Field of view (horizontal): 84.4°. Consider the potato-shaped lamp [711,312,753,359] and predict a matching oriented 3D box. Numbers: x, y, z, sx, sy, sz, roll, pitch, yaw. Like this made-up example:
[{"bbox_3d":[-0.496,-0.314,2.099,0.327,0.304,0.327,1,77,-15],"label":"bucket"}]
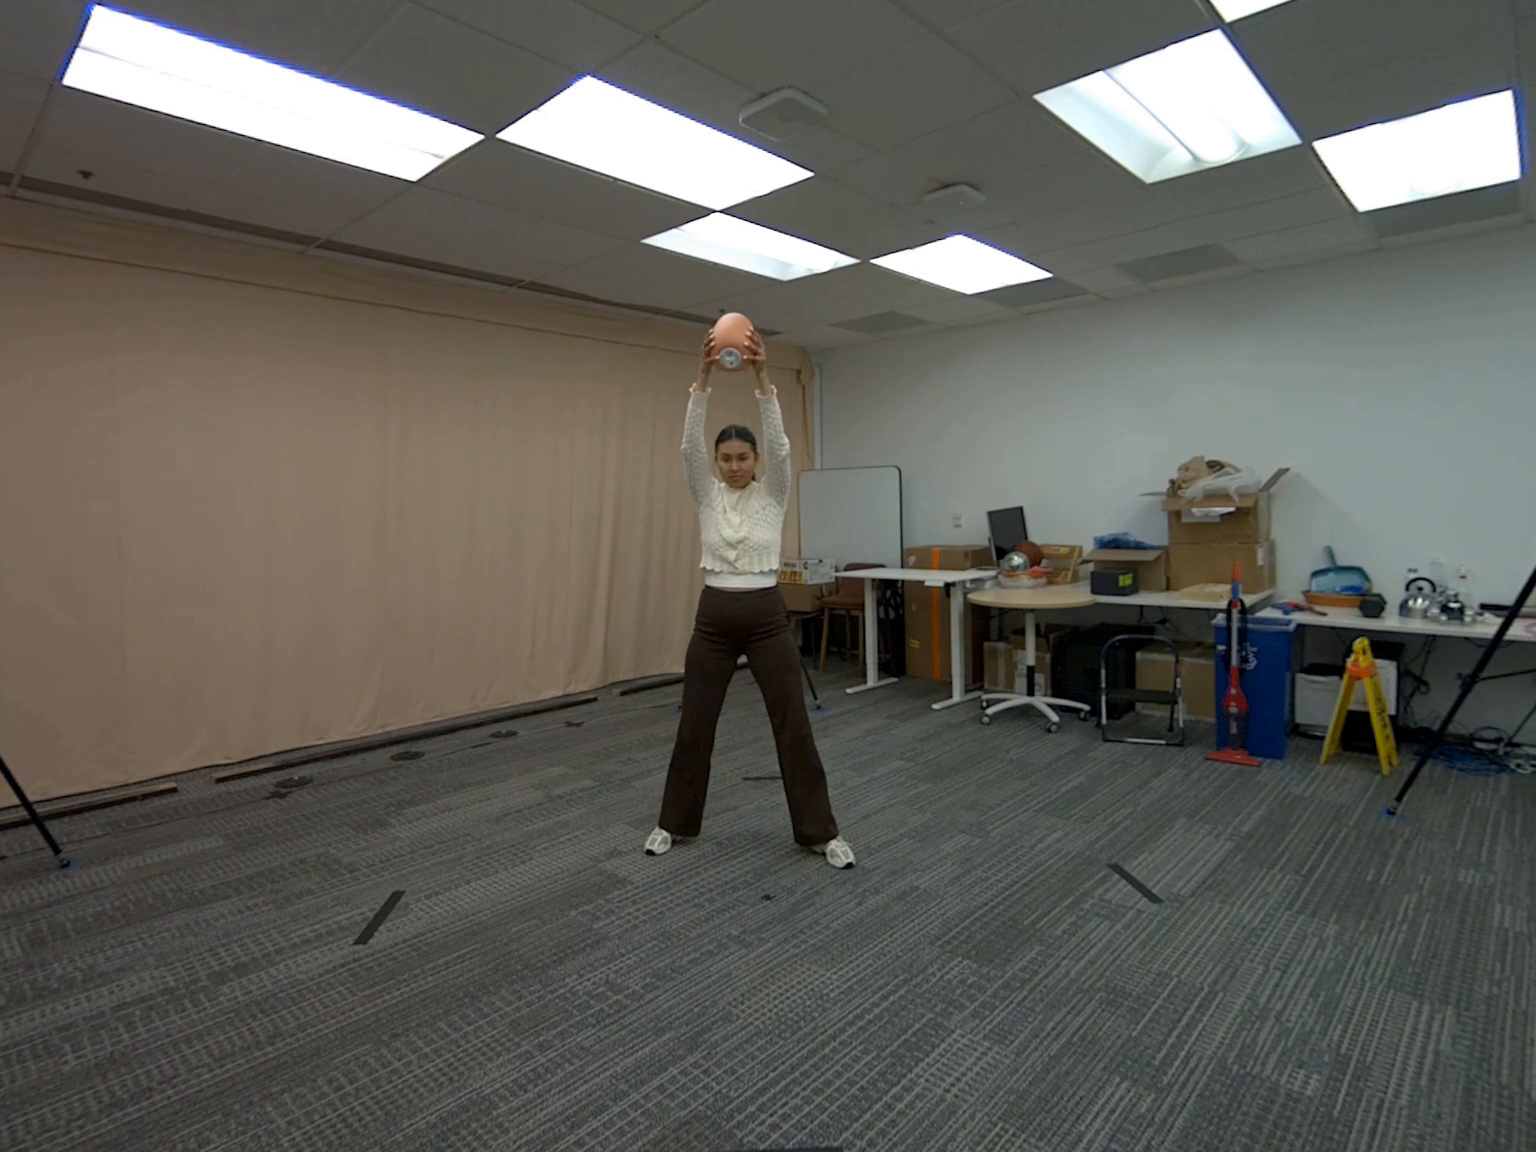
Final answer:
[{"bbox_3d":[-0.124,-0.821,2.949,0.166,0.201,0.167,-4,-42,8],"label":"potato-shaped lamp"}]
